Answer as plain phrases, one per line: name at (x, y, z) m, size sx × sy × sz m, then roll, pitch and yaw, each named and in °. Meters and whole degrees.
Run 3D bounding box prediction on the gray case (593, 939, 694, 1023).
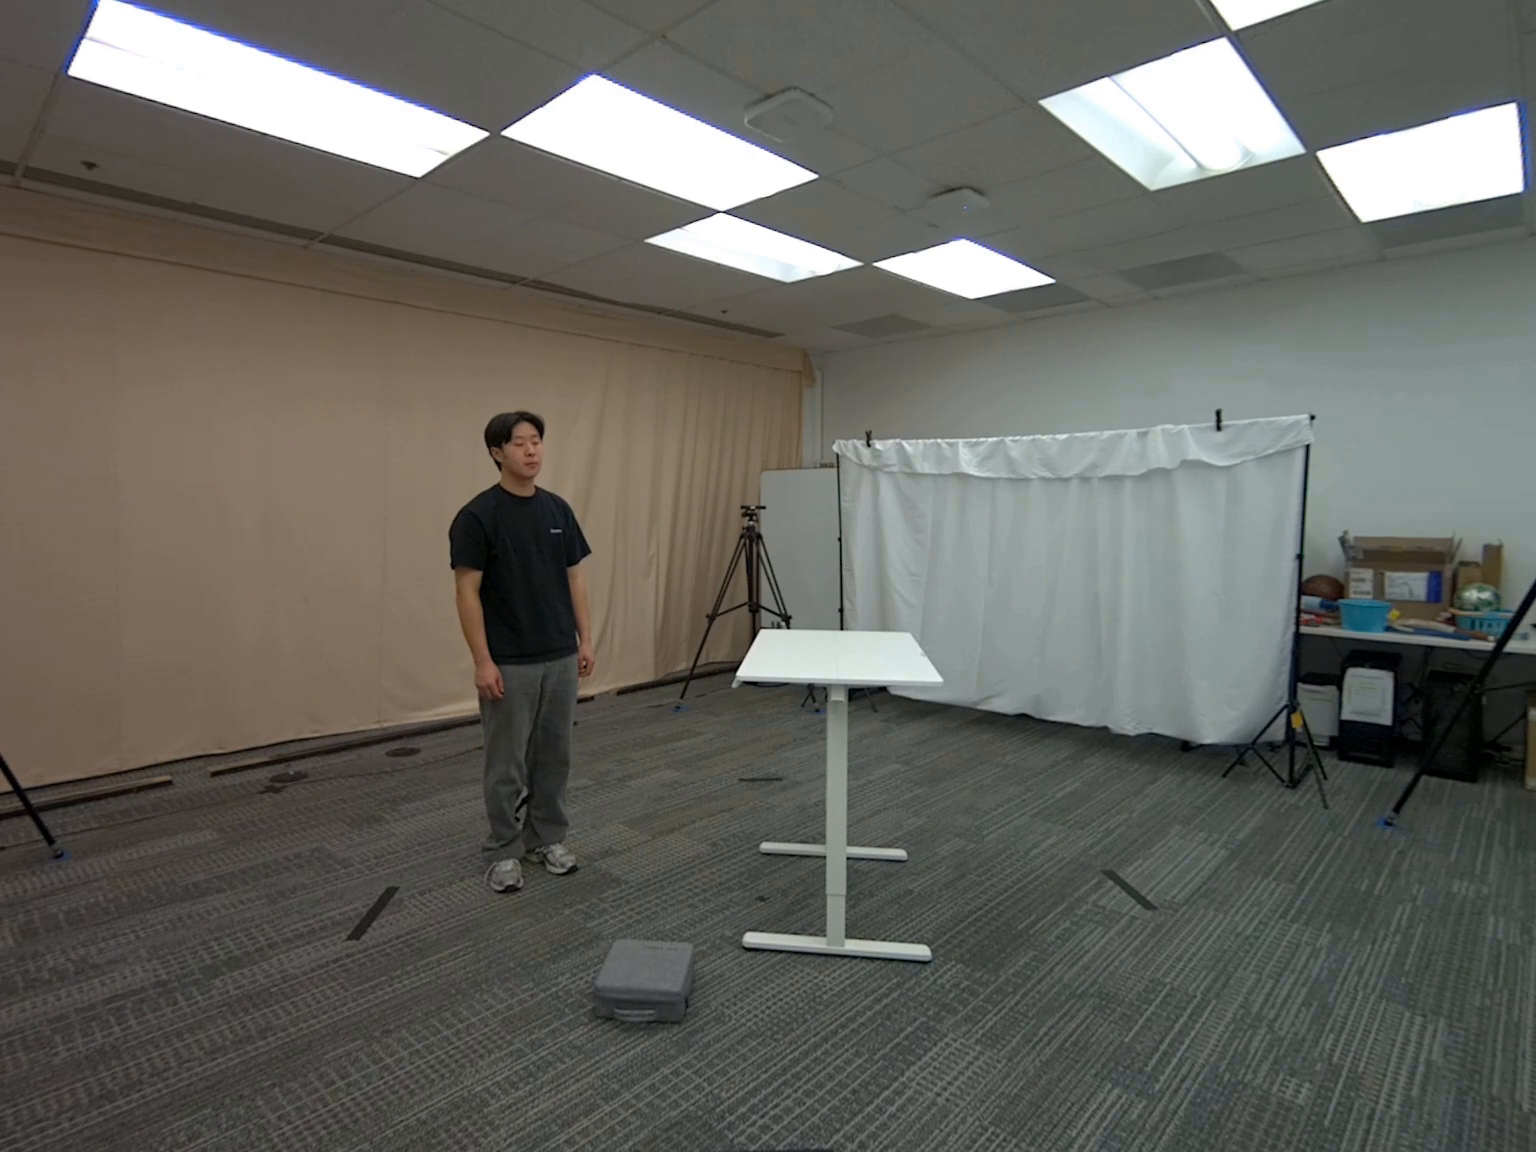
gray case at (-0.341, 1.140, 2.372) m, size 0.265 × 0.103 × 0.286 m, roll 2°, pitch 5°, yaw 6°
